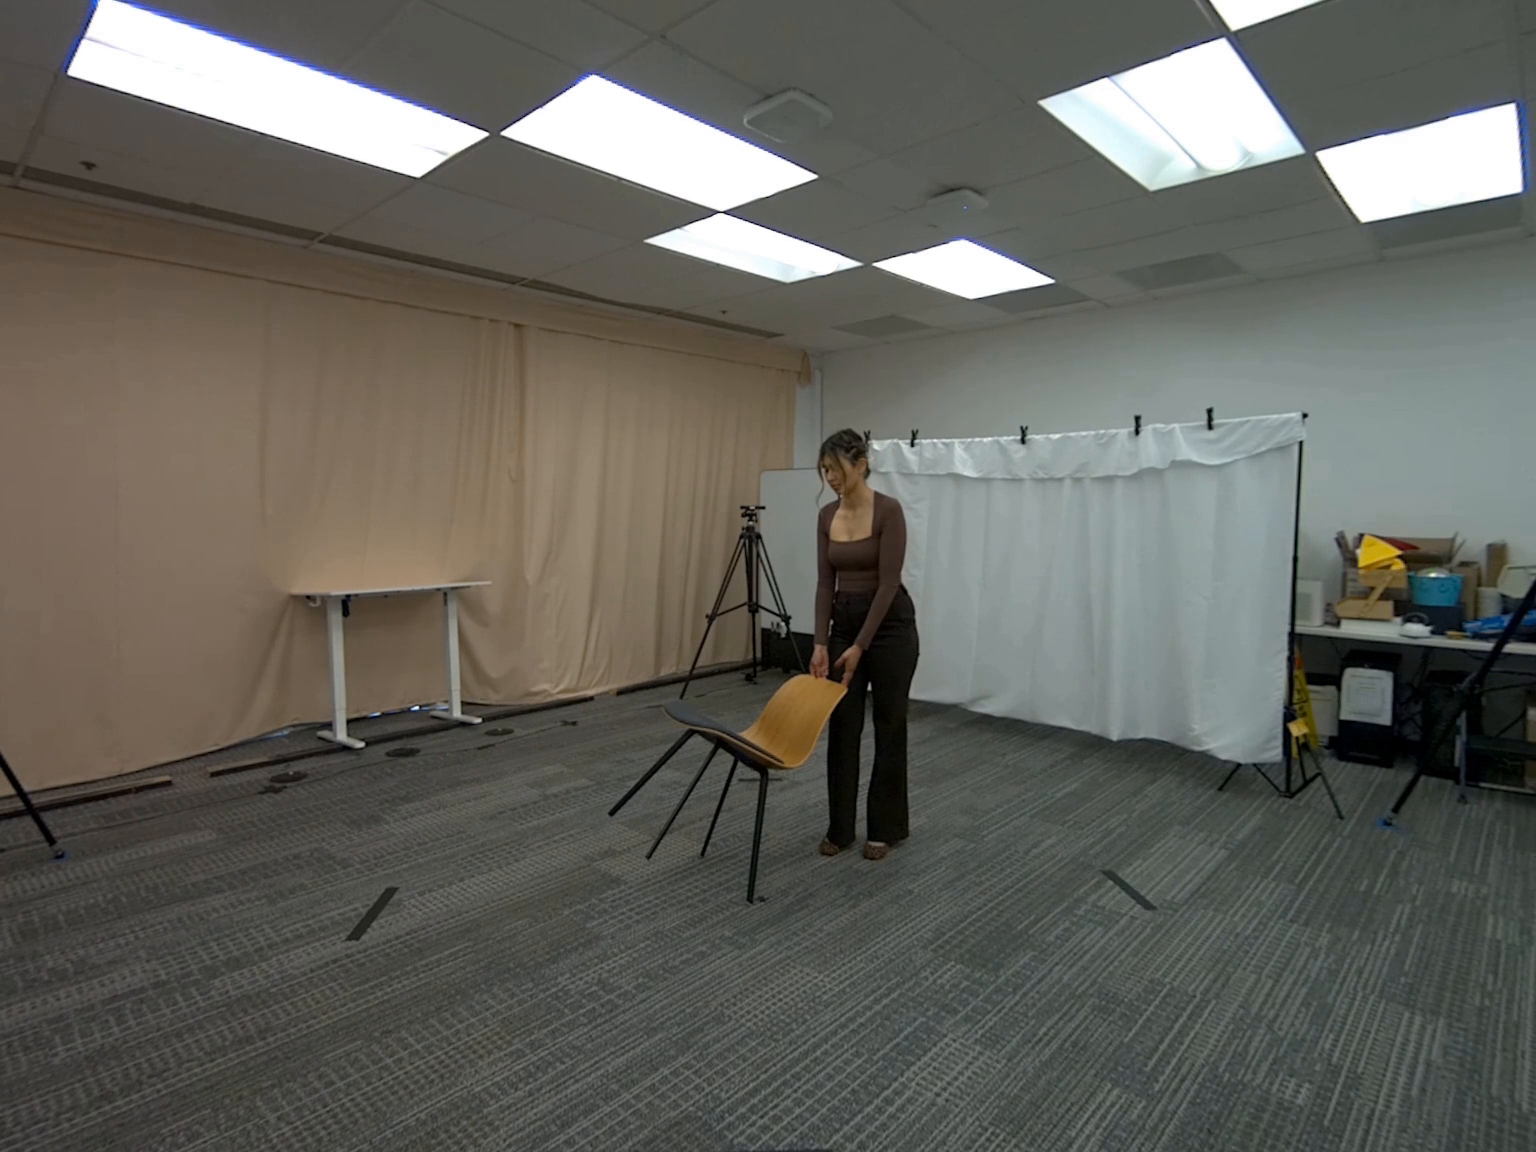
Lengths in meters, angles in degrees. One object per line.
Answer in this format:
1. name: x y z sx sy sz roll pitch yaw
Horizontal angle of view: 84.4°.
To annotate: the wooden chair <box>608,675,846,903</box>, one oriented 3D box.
1. wooden chair: -0.139 0.645 3.122 0.510 0.877 0.491 36 -12 -23
